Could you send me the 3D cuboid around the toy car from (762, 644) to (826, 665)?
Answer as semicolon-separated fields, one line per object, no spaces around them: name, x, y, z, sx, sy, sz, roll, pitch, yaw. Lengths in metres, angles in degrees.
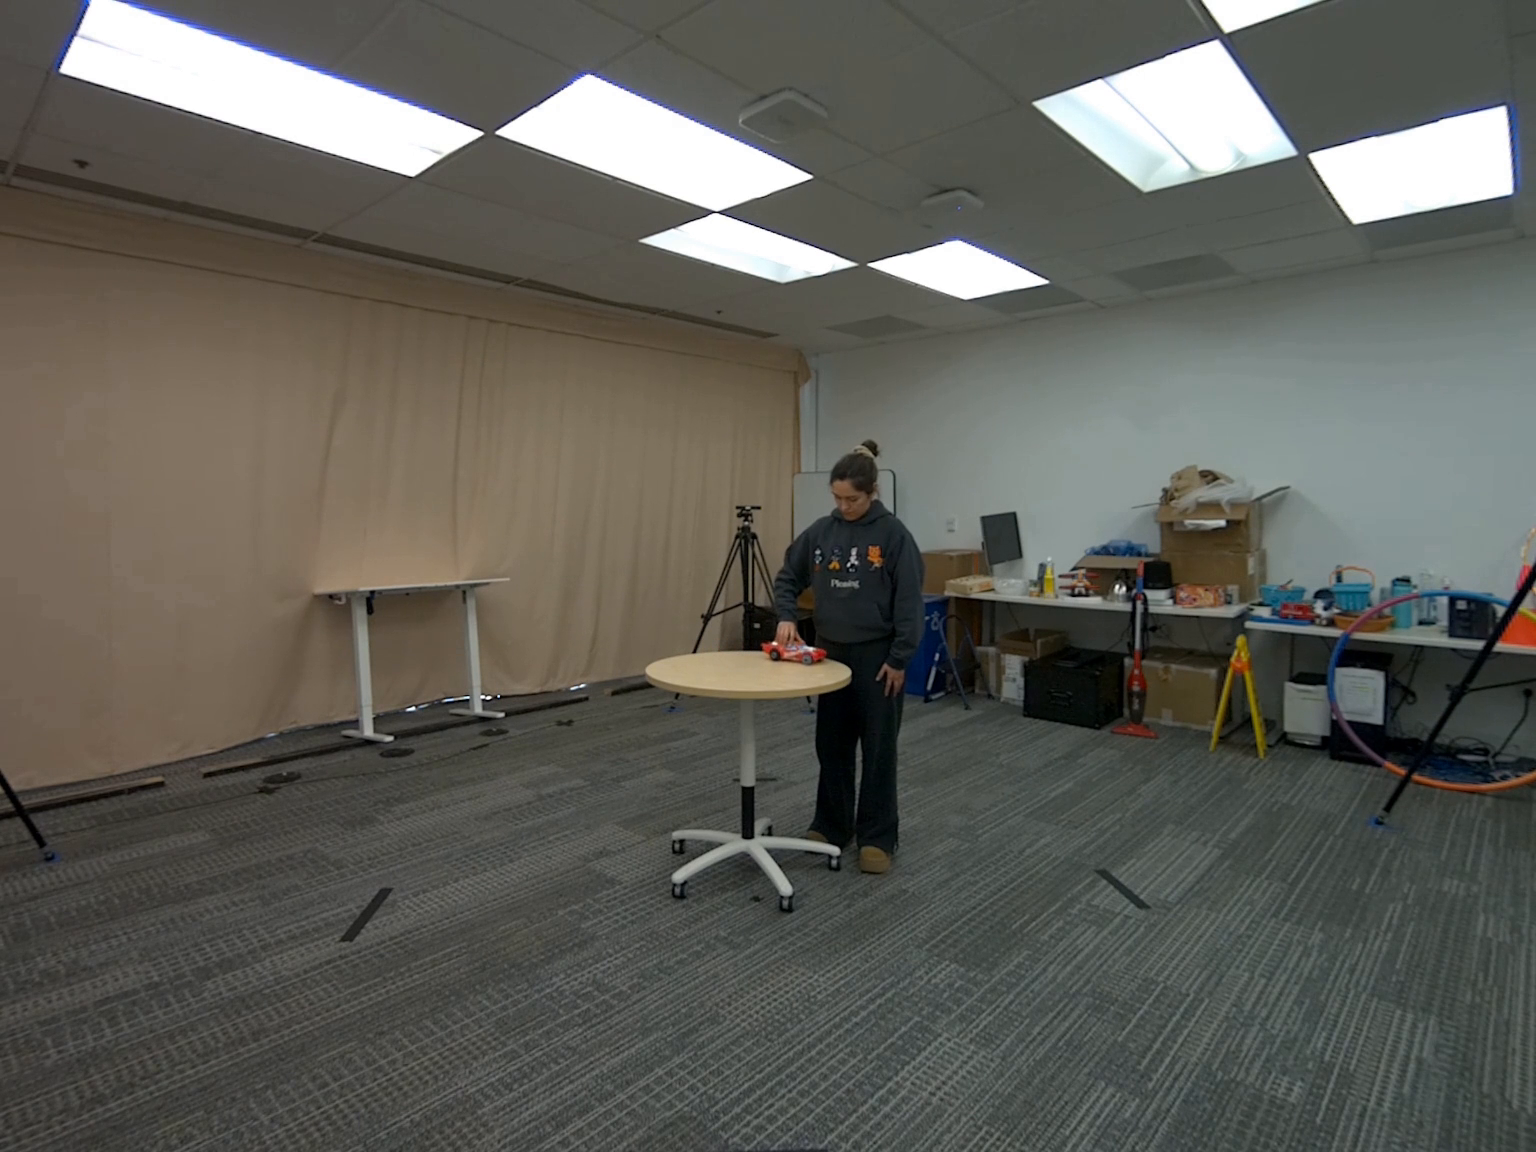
toy car;0.110;0.302;3.320;0.263;0.083;0.127;17;13;32
